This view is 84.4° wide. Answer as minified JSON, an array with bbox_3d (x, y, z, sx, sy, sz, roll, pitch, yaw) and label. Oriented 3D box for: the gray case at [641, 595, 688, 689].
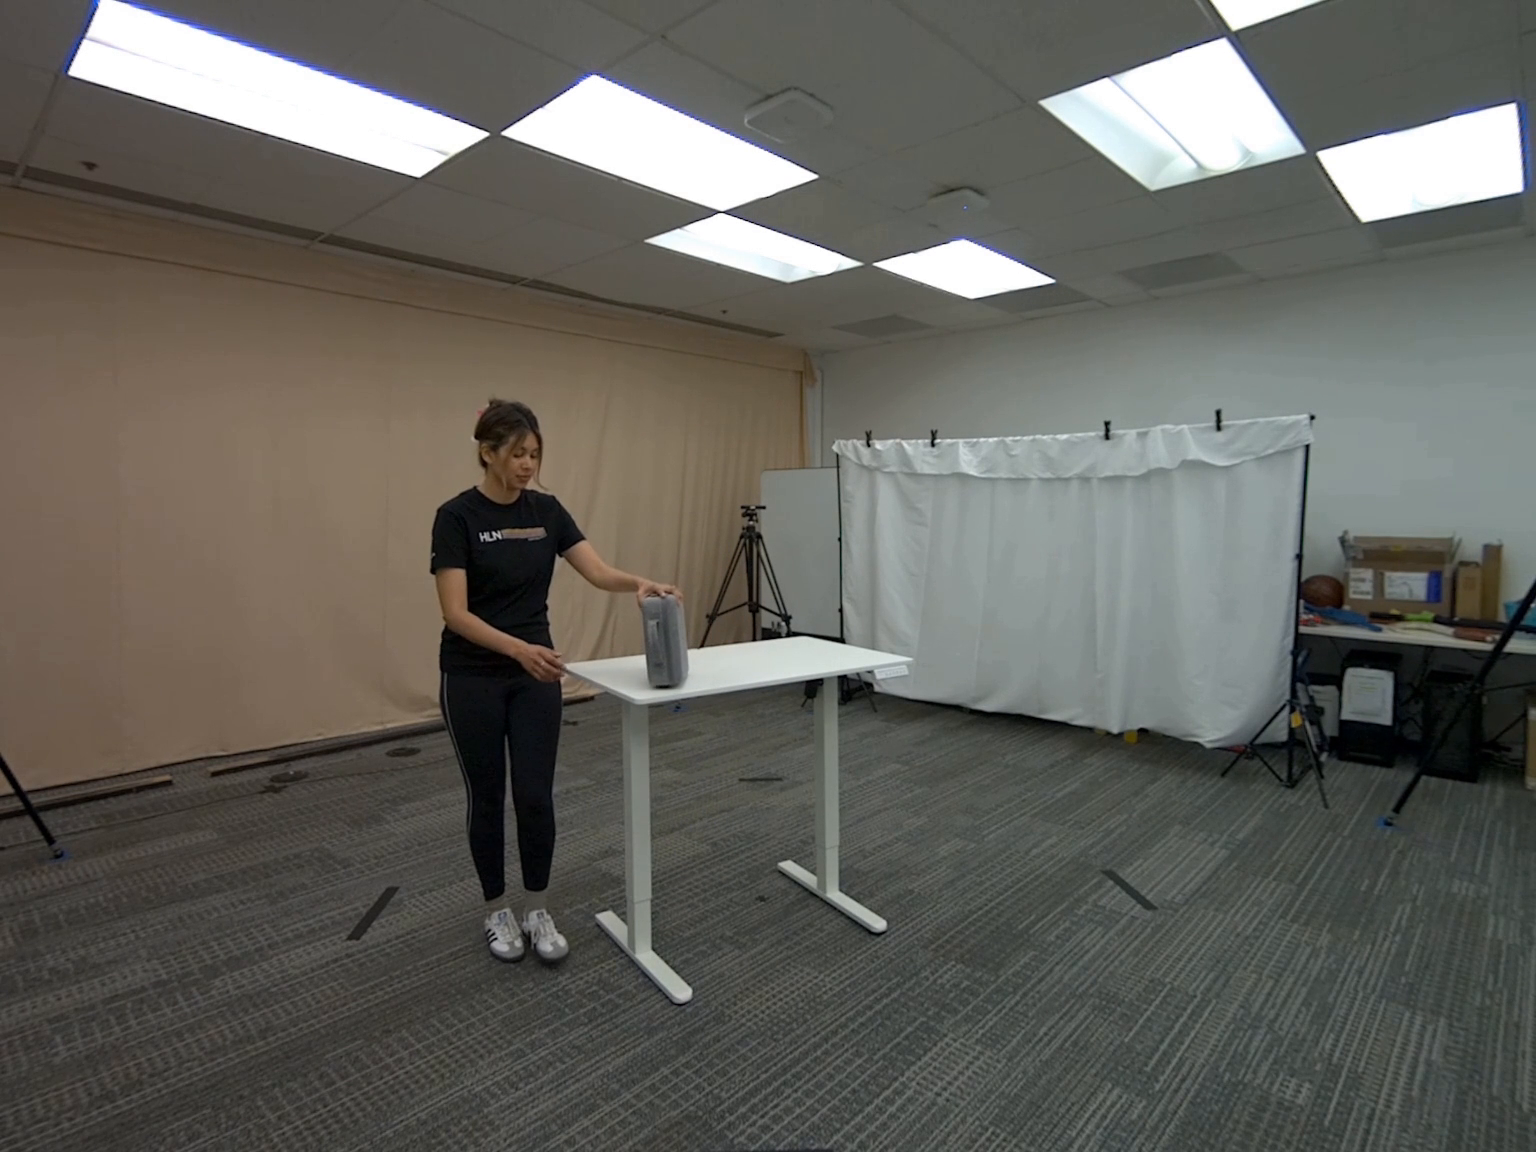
[{"bbox_3d":[-0.300,0.183,2.442,0.105,0.257,0.260,-2,2,2],"label":"gray case"}]
